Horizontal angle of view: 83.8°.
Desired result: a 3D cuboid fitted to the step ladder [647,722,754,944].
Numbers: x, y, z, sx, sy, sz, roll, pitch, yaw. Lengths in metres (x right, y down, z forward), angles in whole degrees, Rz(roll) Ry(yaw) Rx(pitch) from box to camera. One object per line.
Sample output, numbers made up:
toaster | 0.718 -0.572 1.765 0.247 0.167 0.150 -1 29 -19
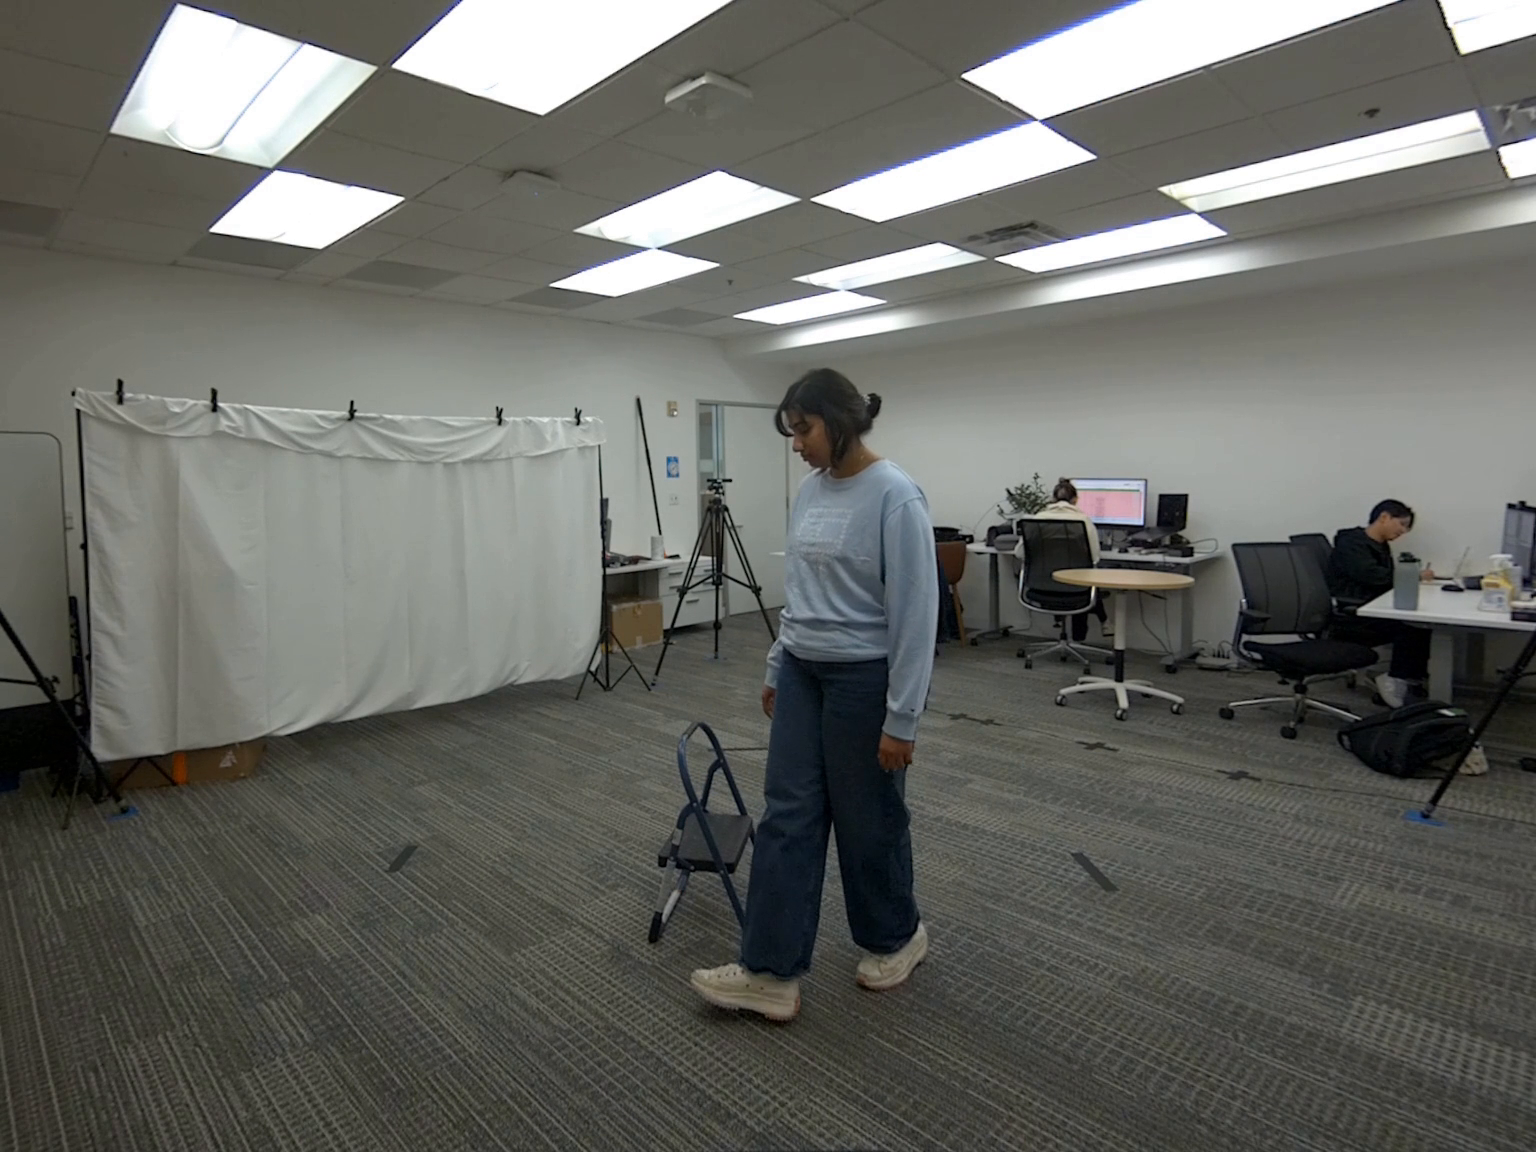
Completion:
step ladder | -0.167 0.788 2.731 0.353 0.604 0.428 0 5 10
